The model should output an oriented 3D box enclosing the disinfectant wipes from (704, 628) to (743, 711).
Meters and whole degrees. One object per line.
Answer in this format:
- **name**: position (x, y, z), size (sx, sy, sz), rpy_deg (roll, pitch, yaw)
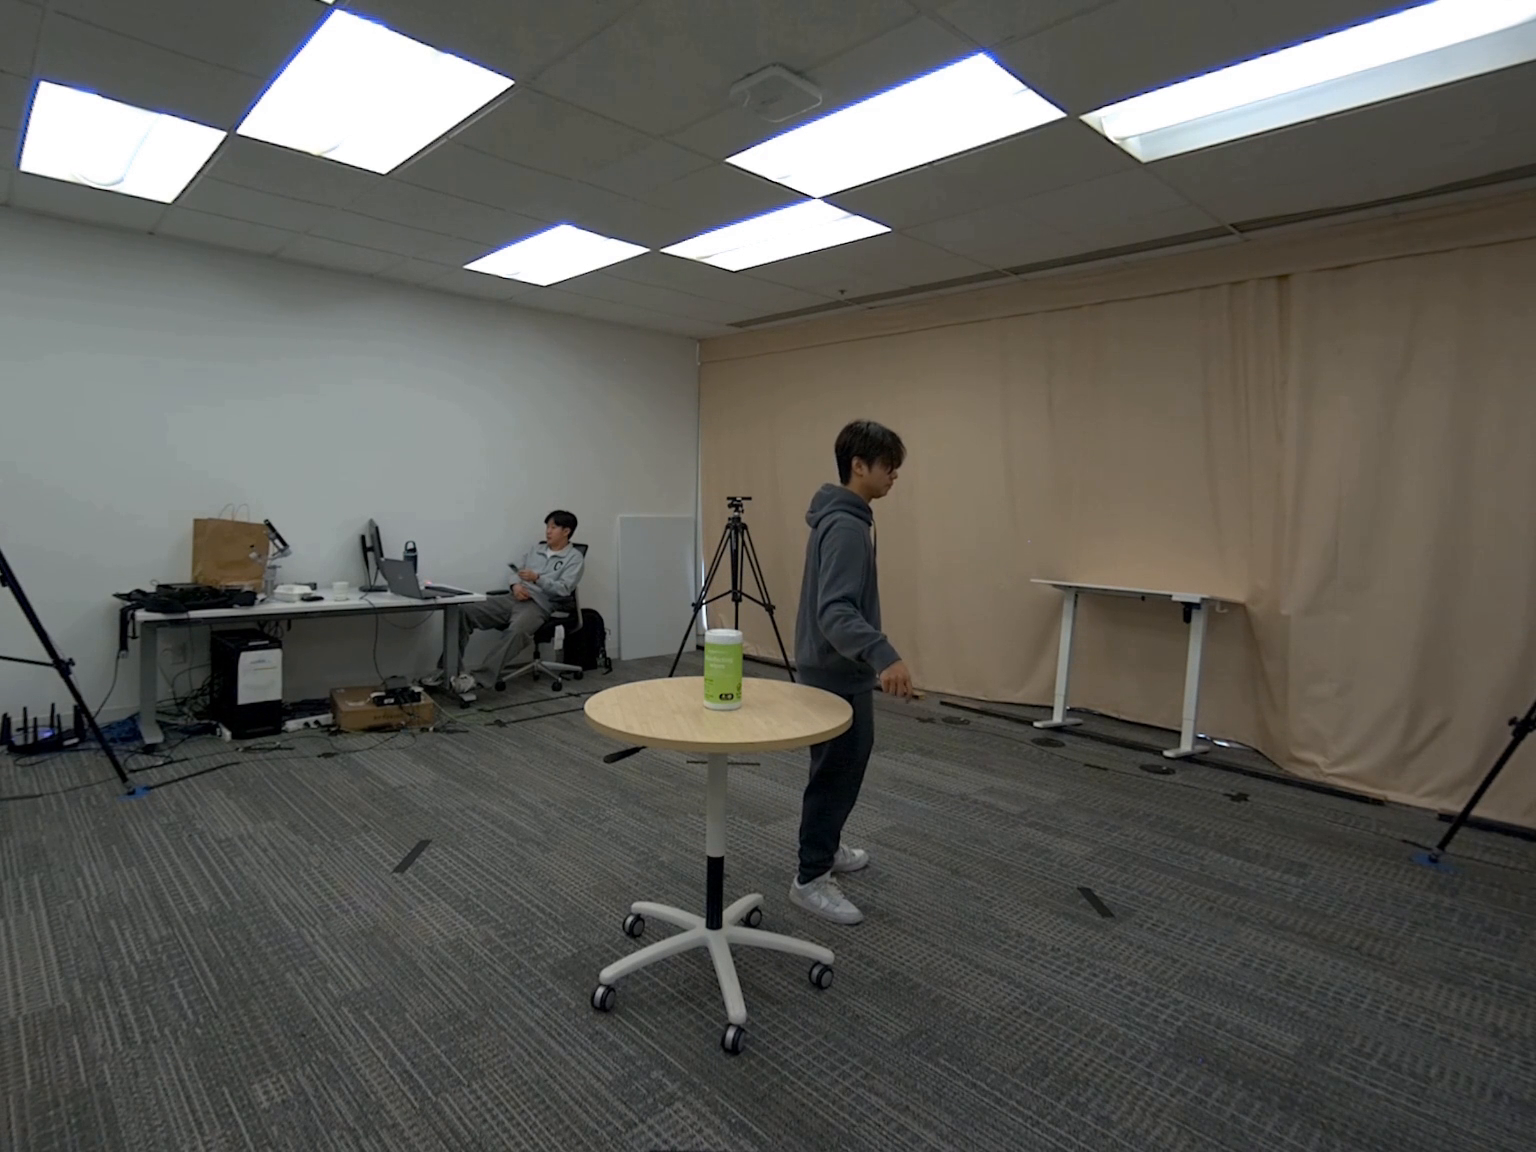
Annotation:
- **disinfectant wipes**: position (-0.133, 0.269, 2.396), size (0.118, 0.217, 0.118), rpy_deg (1, 2, -1)
